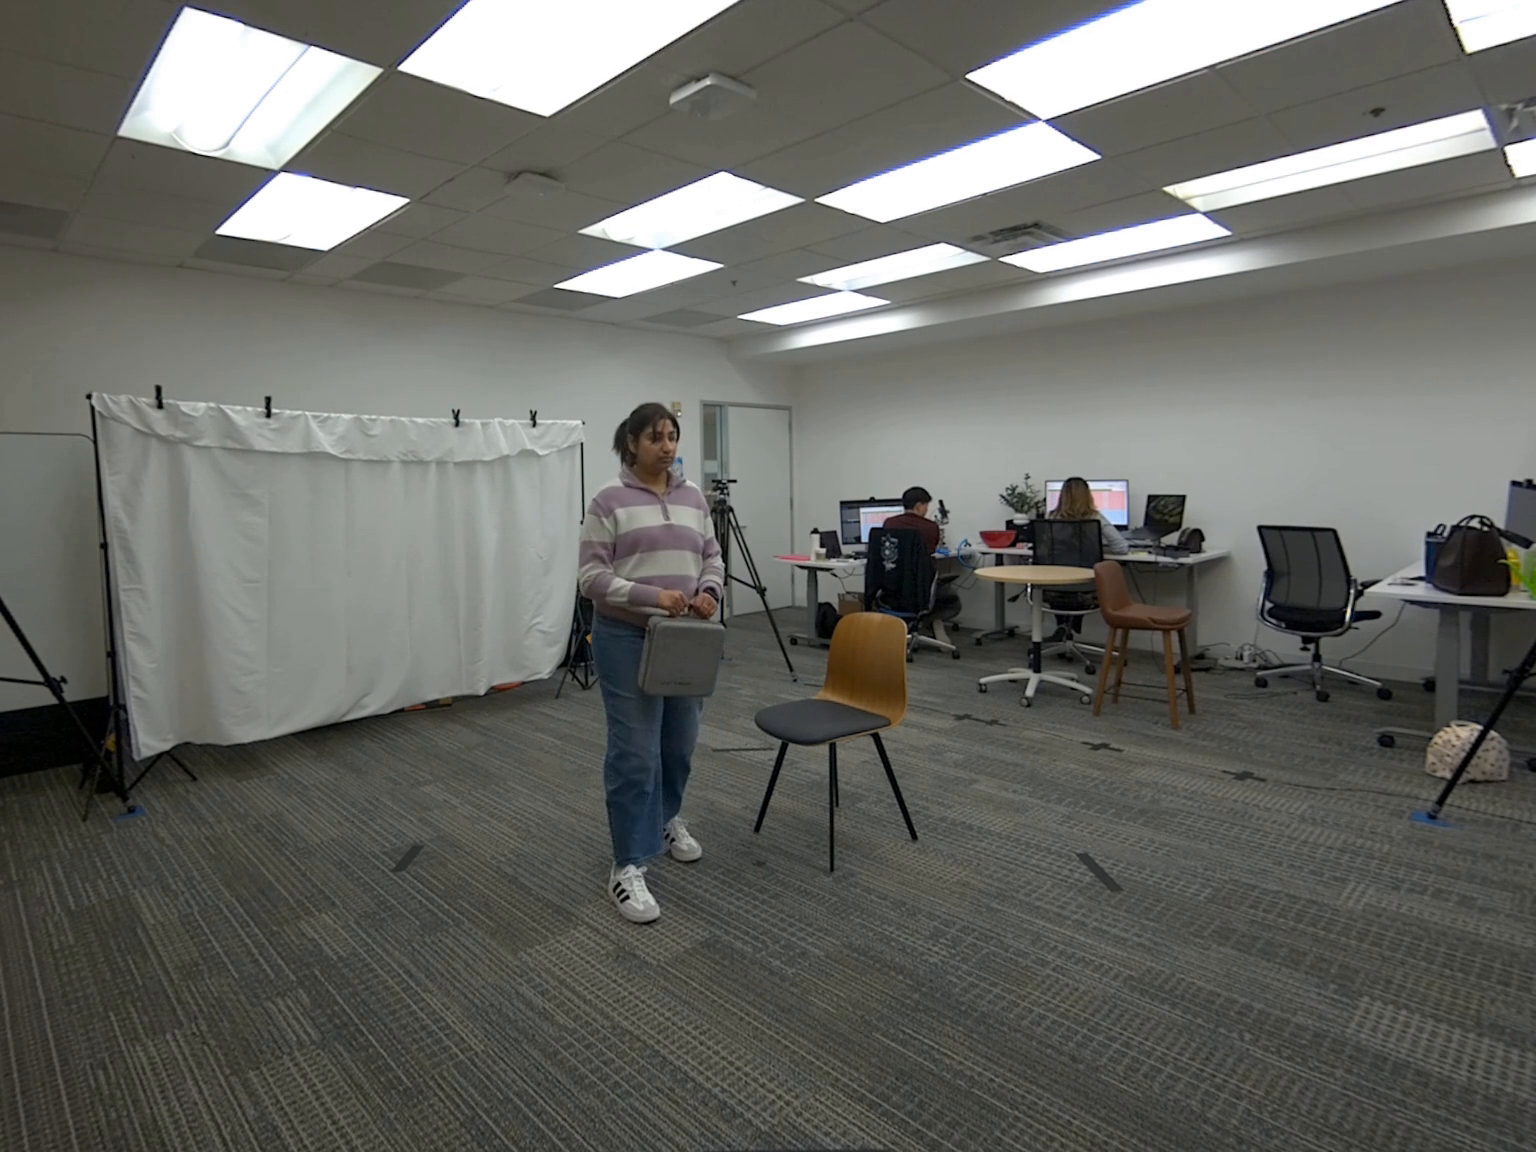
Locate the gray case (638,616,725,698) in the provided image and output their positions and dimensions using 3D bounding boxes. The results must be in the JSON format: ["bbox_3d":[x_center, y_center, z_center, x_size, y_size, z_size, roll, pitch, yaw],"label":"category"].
[{"bbox_3d":[-0.286,0.253,2.777,0.250,0.259,0.107,6,9,-26],"label":"gray case"}]
